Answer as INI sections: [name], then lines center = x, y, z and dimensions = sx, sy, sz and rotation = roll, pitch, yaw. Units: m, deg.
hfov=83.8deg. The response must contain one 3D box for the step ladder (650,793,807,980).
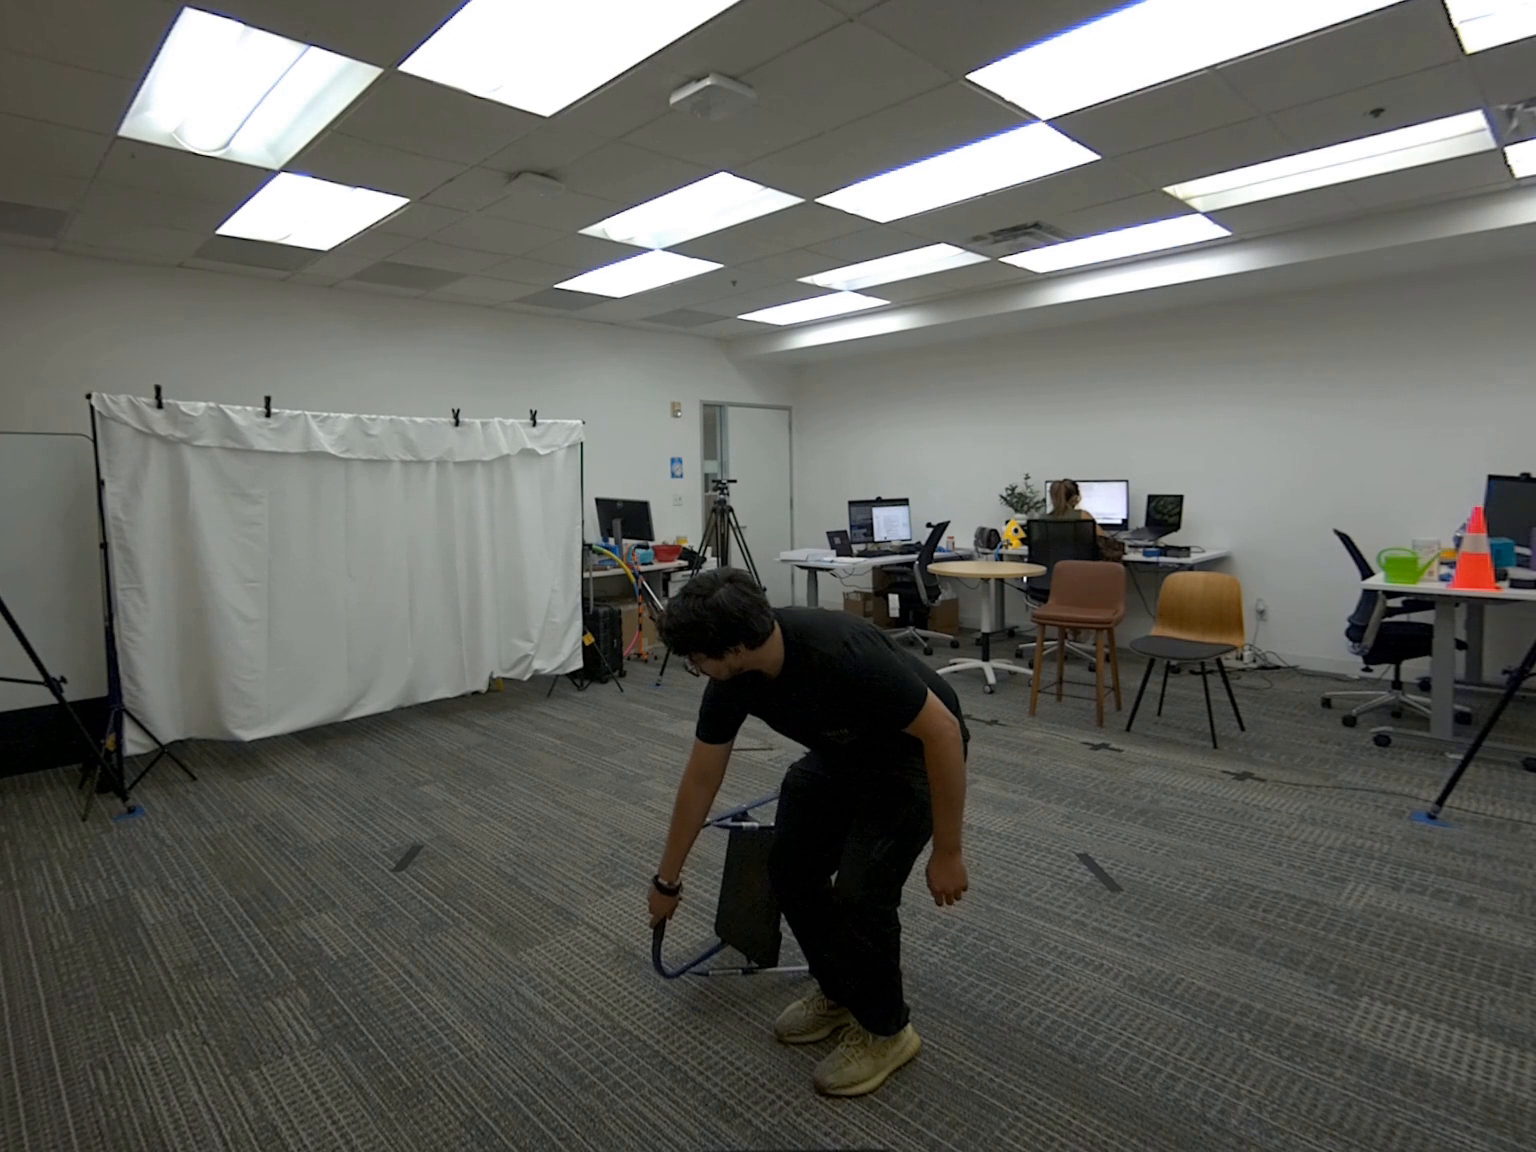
[step ladder]
center = -0.094, 0.868, 2.383
dimensions = 0.587, 0.431, 0.360
rotation = 8, -2, -41
